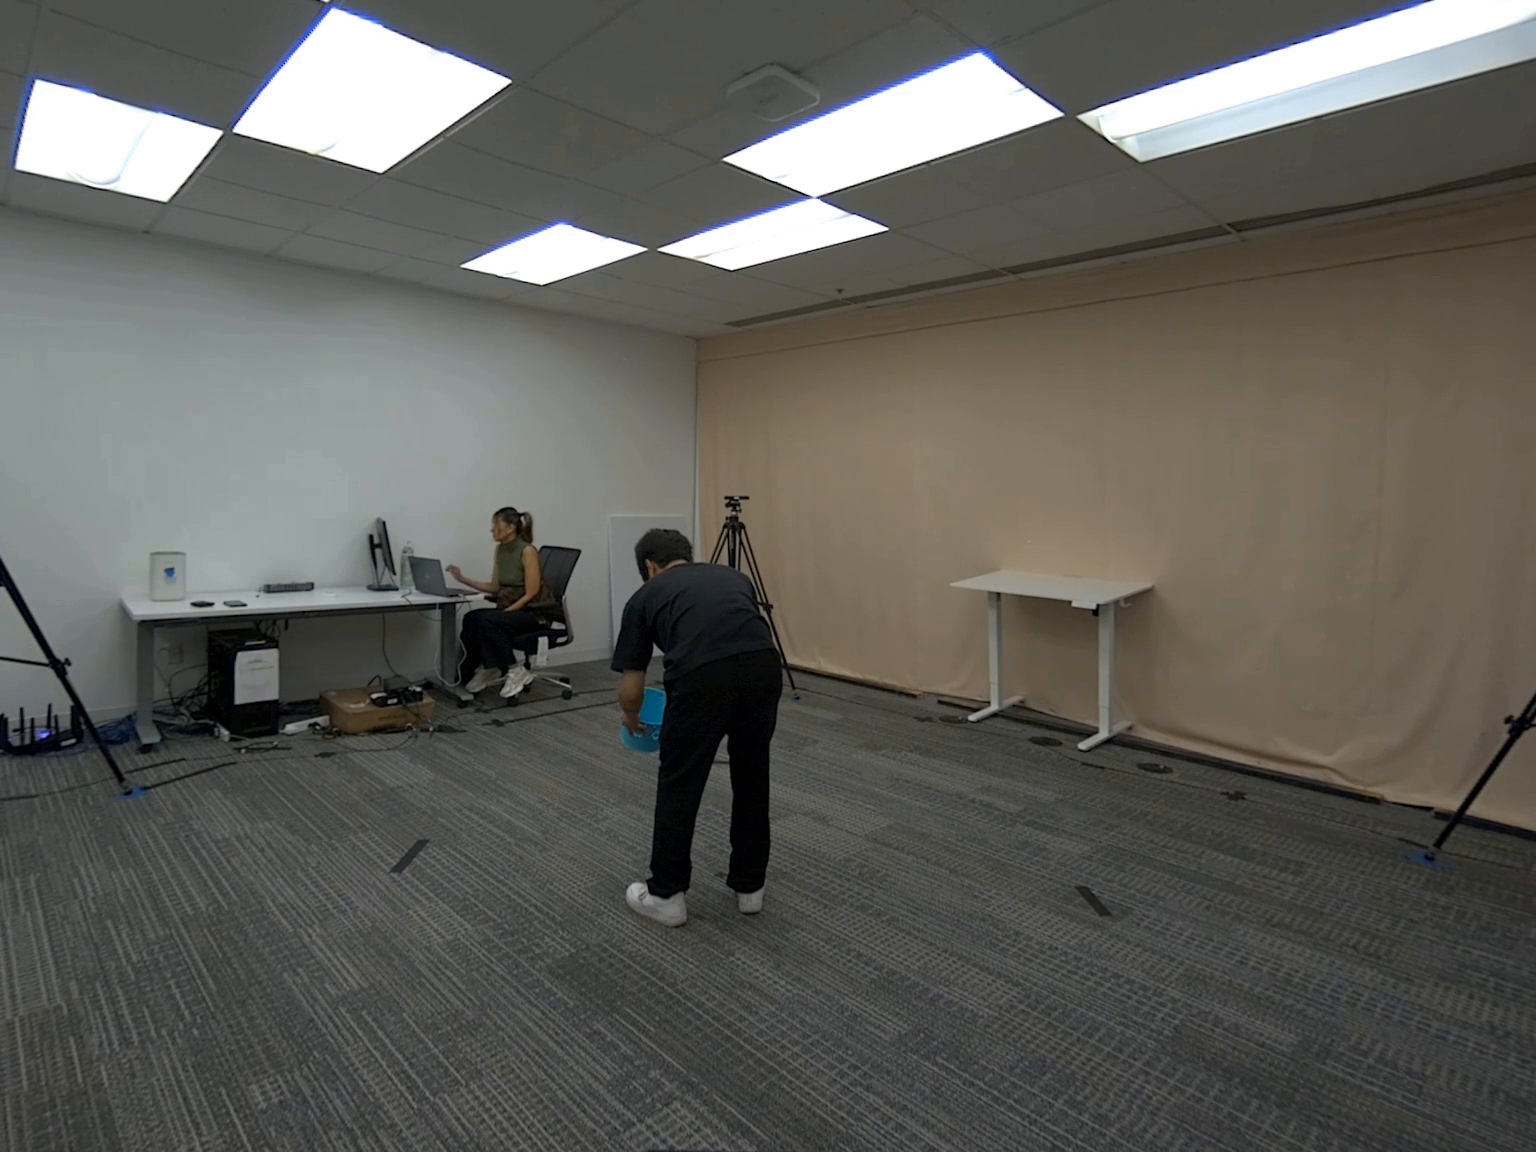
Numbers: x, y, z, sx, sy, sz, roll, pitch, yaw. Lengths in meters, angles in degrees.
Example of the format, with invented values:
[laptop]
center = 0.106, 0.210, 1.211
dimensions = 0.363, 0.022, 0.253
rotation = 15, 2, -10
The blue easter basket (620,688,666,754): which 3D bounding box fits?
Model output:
[blue easter basket]
center = -0.473, 0.568, 3.229
dimensions = 0.242, 0.154, 0.247
rotation = 12, 23, -7
